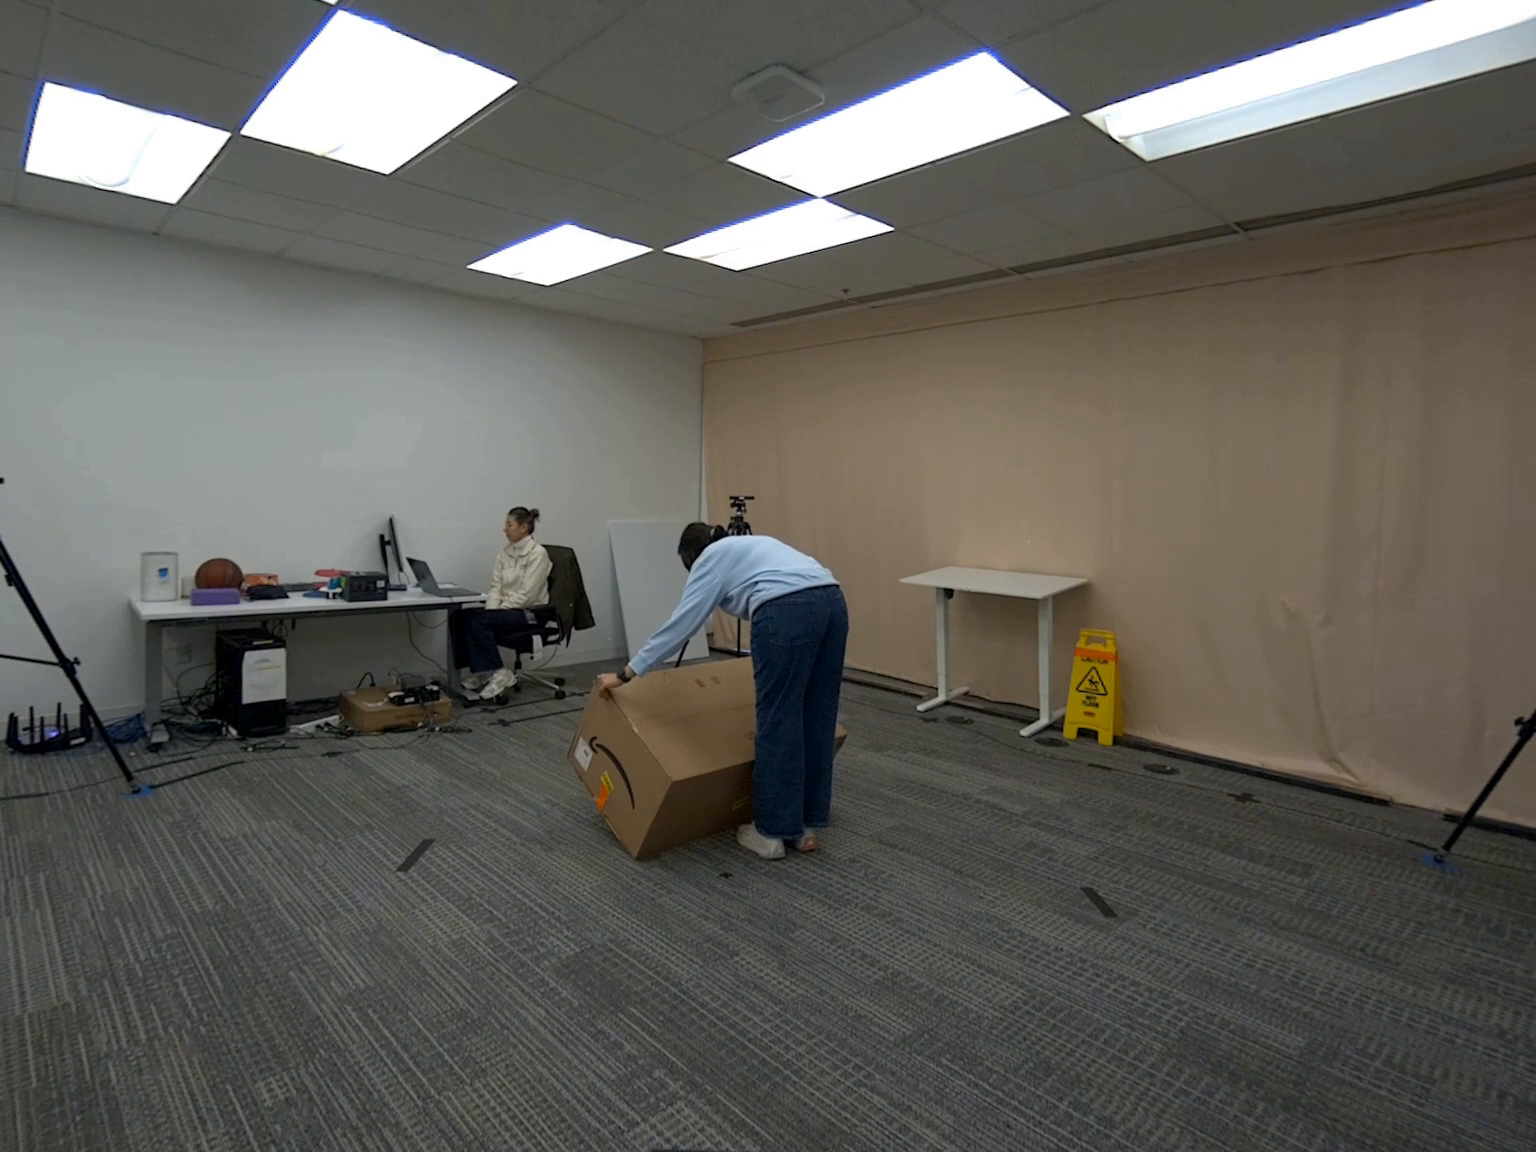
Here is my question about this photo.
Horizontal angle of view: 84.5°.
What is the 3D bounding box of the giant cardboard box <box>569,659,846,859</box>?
[{"bbox_3d":[-0.252,0.730,3.646,1.002,0.423,0.595,-3,36,-45],"label":"giant cardboard box"}]
